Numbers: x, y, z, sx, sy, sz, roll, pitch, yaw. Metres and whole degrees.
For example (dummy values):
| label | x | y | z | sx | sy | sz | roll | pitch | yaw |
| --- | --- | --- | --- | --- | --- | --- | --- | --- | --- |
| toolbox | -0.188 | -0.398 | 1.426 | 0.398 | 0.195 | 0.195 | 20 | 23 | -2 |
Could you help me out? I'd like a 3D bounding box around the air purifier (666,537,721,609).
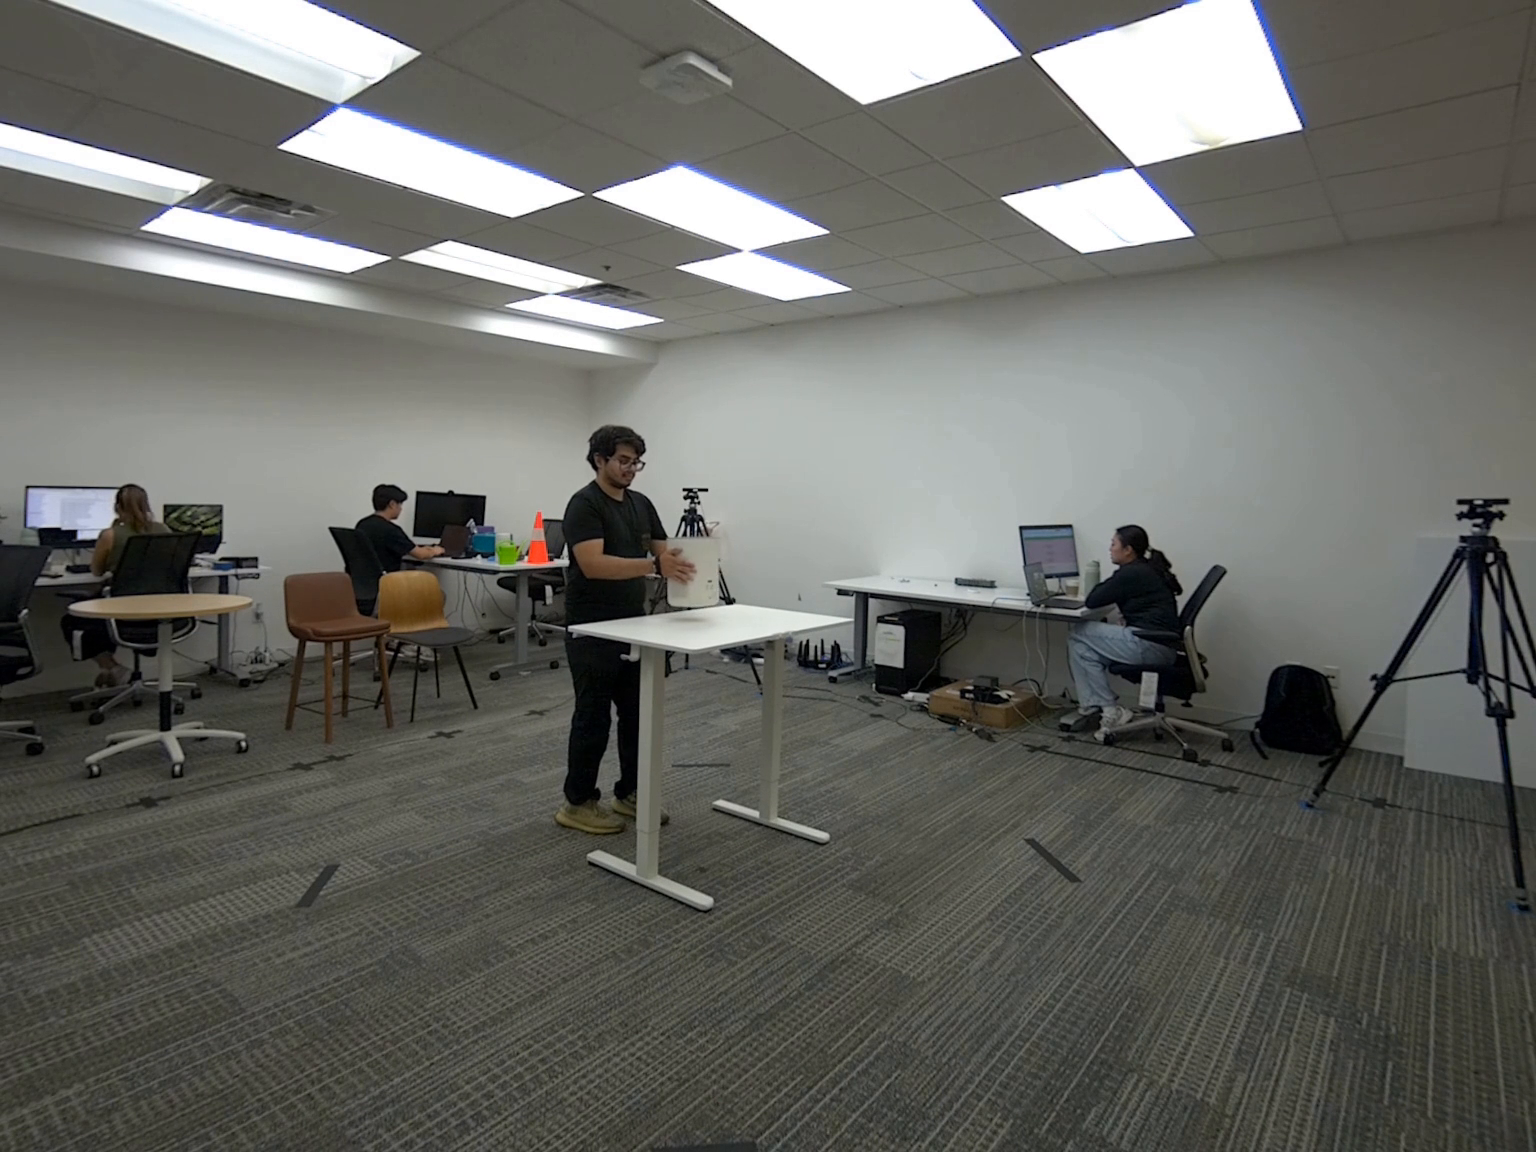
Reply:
| label | x | y | z | sx | sy | sz | roll | pitch | yaw |
| --- | --- | --- | --- | --- | --- | --- | --- | --- | --- |
| air purifier | -0.305 | -0.014 | 3.292 | 0.177 | 0.266 | 0.166 | -2 | -1 | 36 |
